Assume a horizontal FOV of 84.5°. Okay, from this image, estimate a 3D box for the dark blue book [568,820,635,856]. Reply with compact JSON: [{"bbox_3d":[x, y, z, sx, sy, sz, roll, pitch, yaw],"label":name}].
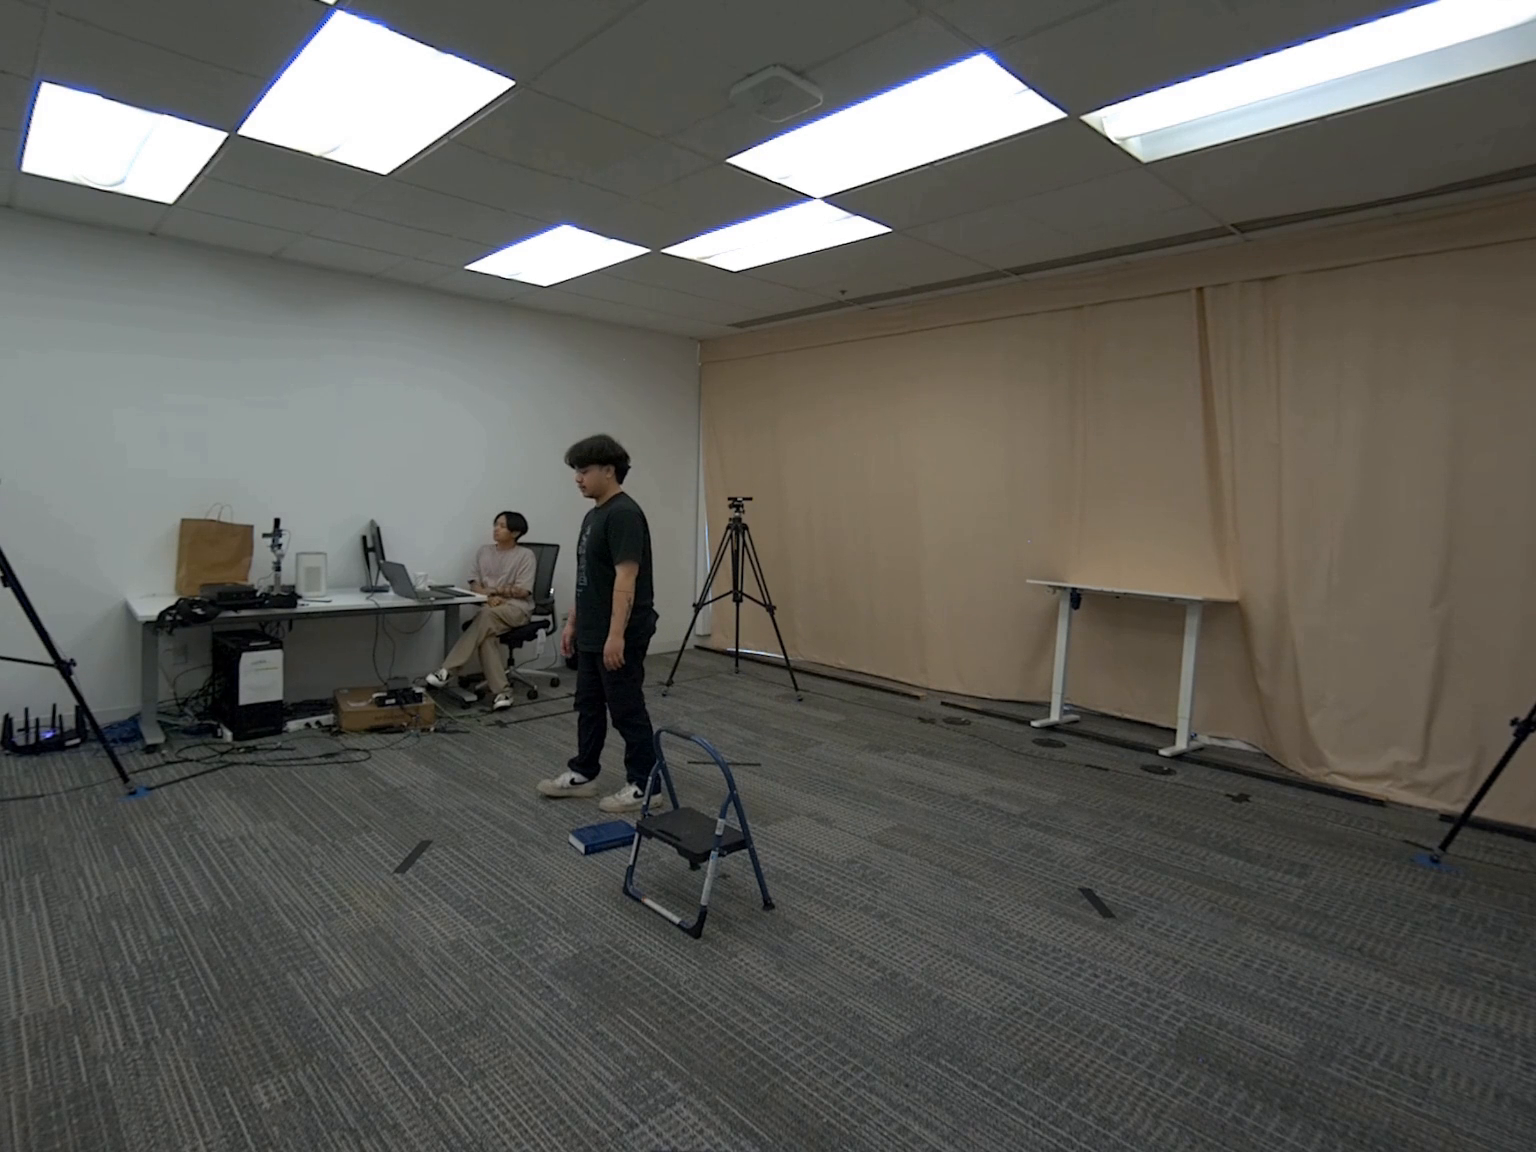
[{"bbox_3d":[-0.674,1.053,3.384,0.240,0.045,0.167,-2,6,-35],"label":"dark blue book"}]
